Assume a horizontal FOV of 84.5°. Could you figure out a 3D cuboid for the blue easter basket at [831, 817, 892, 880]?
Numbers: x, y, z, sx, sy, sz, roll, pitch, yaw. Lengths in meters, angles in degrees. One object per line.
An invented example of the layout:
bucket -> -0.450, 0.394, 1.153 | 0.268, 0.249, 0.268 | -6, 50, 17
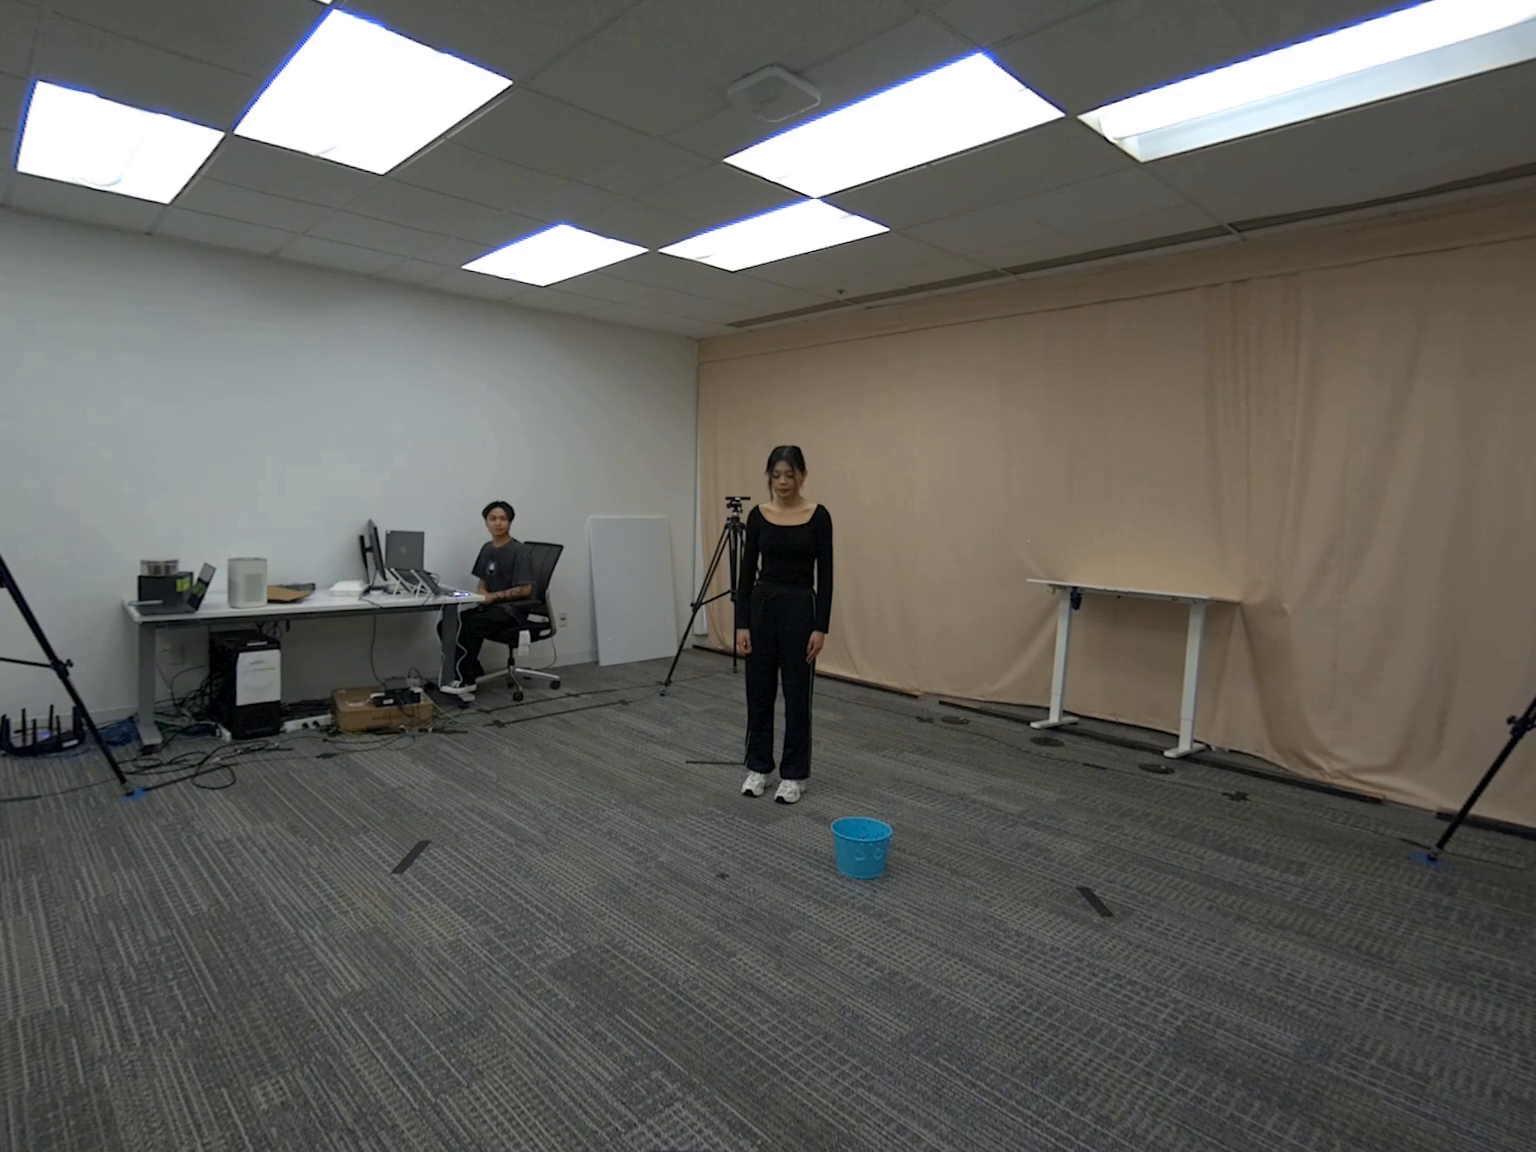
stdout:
blue easter basket -> 0.350, 1.034, 3.192 | 0.243, 0.155, 0.244 | 1, 5, -1
